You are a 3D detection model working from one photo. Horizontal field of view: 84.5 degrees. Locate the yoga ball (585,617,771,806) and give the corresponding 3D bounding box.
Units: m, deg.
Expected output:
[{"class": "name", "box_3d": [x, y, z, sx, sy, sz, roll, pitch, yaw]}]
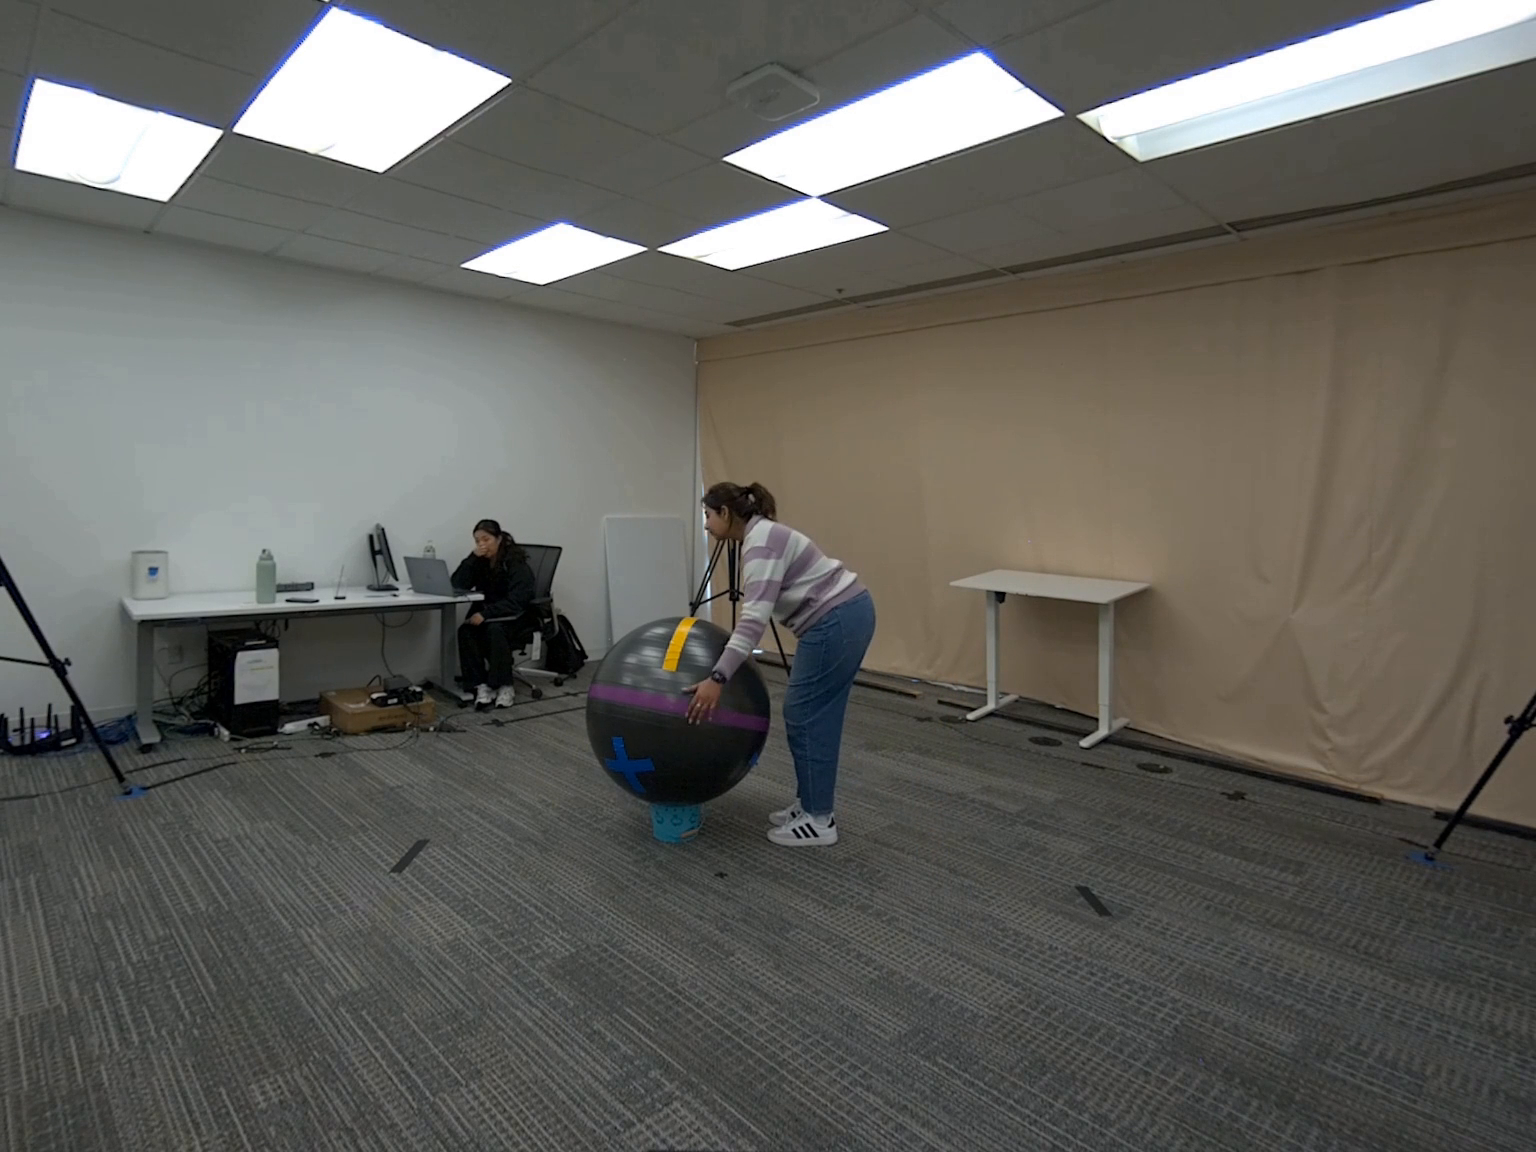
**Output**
[{"class": "yoga ball", "box_3d": [-0.381, 0.561, 3.467, 0.757, 0.756, 0.761, 1, 4, -1]}]
